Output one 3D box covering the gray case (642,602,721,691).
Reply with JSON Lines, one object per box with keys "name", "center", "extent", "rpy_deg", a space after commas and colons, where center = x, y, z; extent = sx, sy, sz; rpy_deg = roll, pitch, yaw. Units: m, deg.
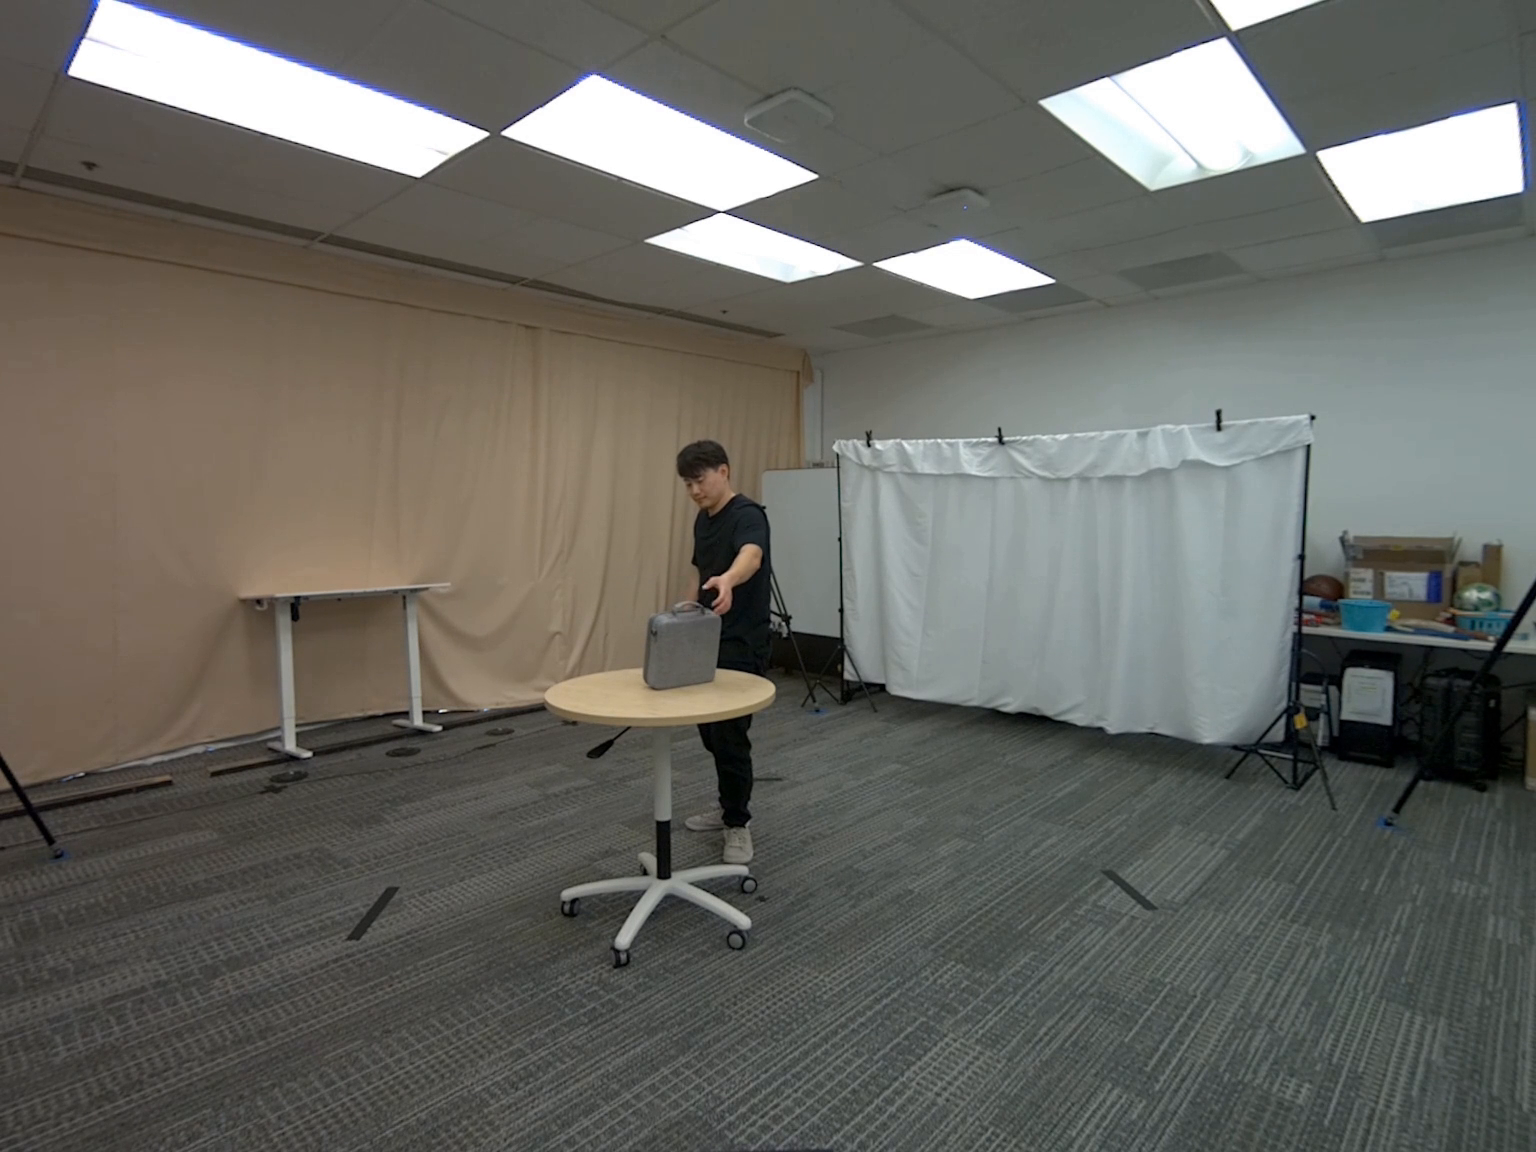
{"name": "gray case", "center": [-0.293, 0.240, 2.863], "extent": [0.249, 0.259, 0.108], "rpy_deg": [-5, 17, -36]}
